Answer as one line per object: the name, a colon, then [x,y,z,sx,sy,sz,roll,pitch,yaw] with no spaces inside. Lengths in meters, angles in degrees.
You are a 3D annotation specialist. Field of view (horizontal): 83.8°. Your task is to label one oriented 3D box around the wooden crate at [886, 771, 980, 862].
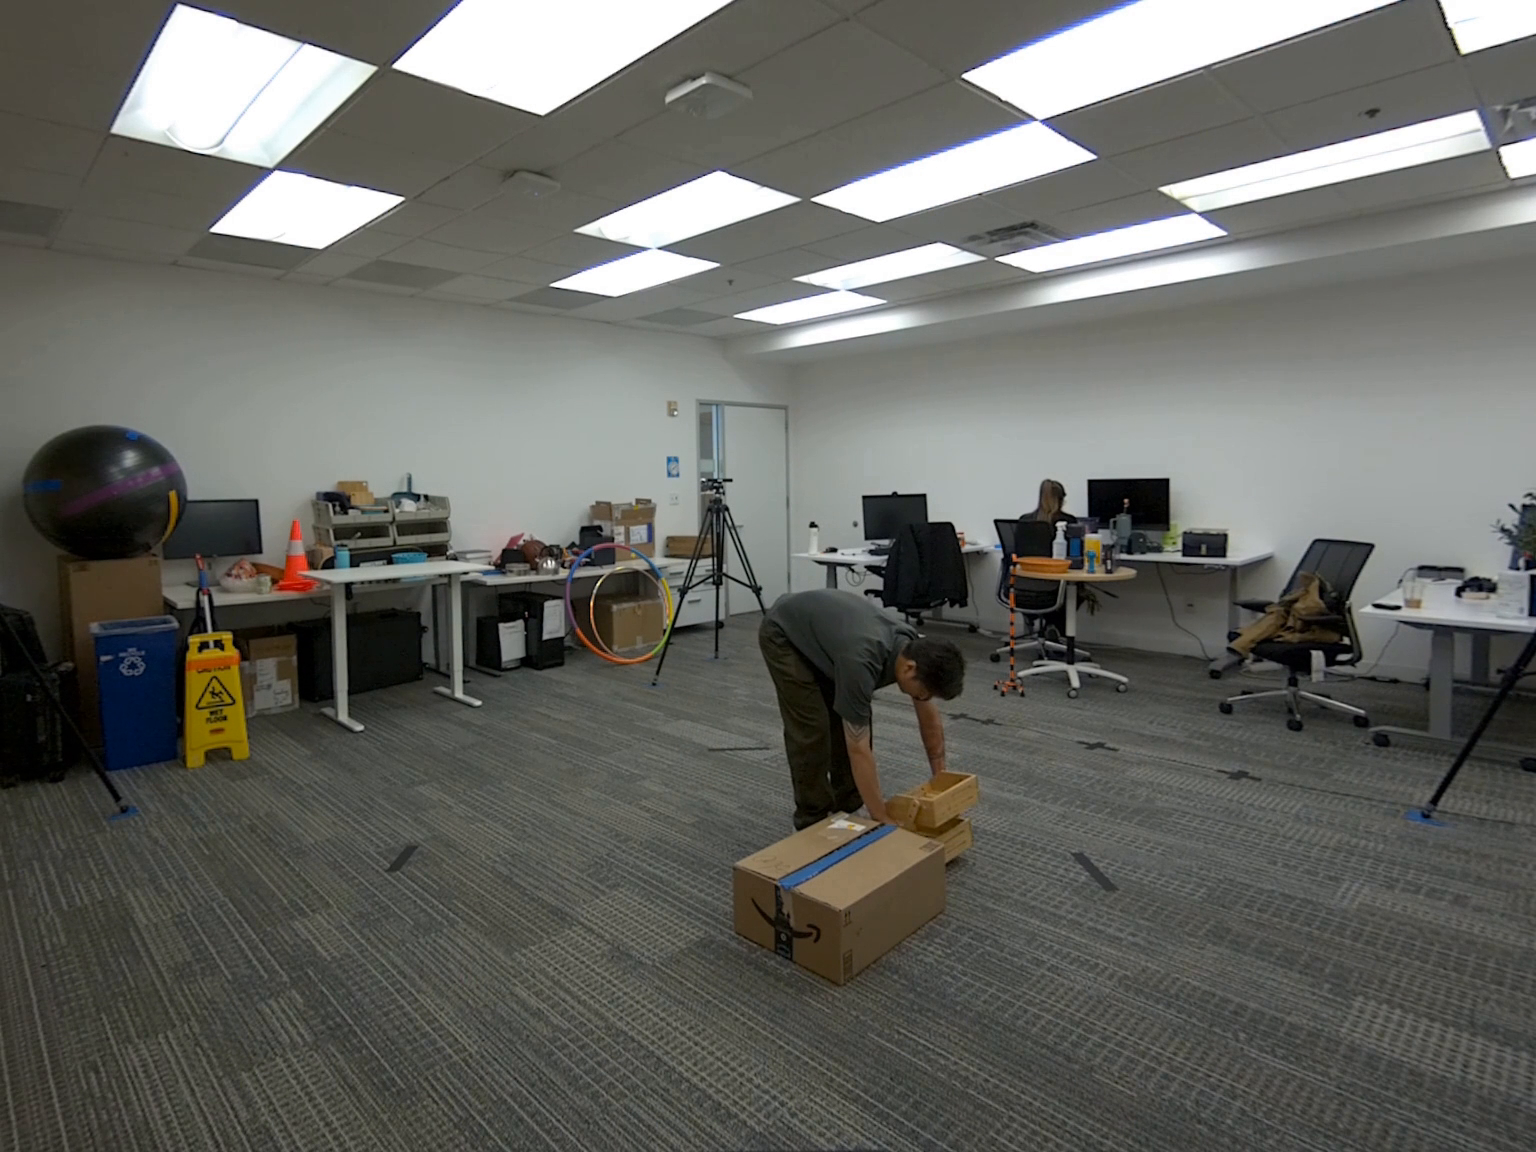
wooden crate: [0.559,0.867,3.069,0.310,0.273,0.316,-6,1,45]
